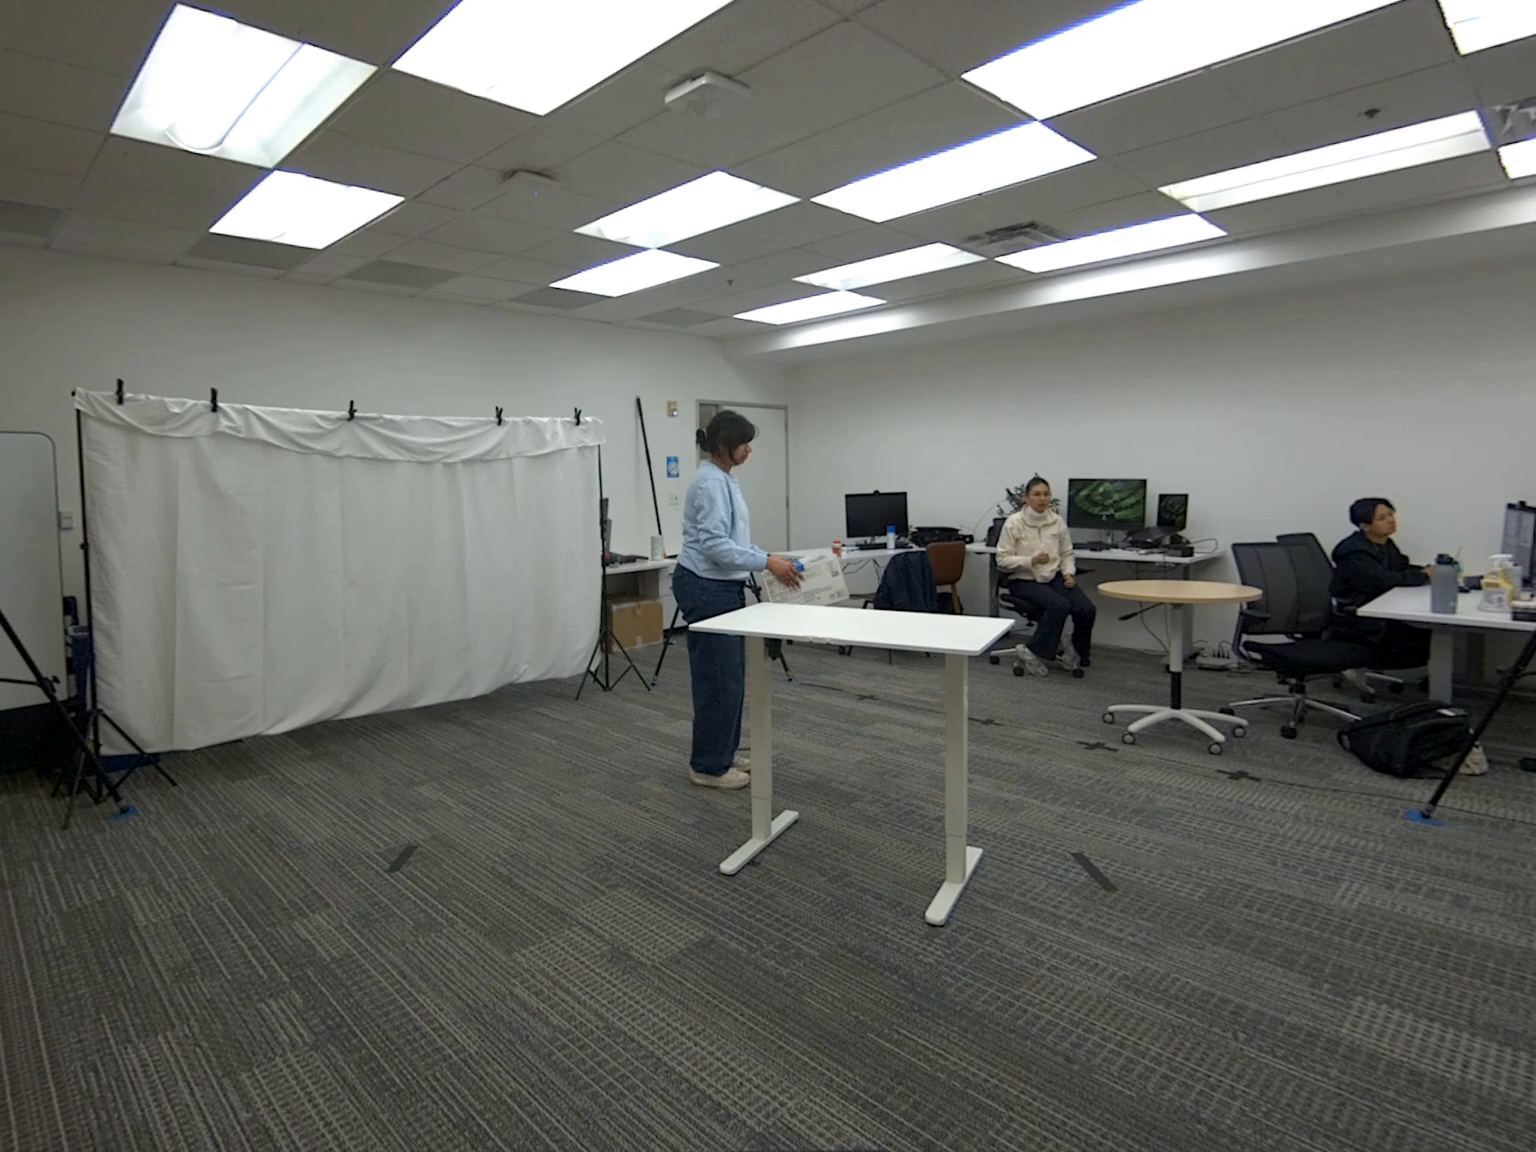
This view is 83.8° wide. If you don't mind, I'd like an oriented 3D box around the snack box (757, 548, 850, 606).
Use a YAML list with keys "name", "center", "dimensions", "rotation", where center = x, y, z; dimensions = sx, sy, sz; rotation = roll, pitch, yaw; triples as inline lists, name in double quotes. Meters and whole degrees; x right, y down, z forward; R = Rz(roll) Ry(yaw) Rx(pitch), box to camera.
- name: "snack box"
  center: [0.161, 0.039, 3.915]
  dimensions: [0.341, 0.205, 0.405]
  rotation: [-16, 4, 2]
